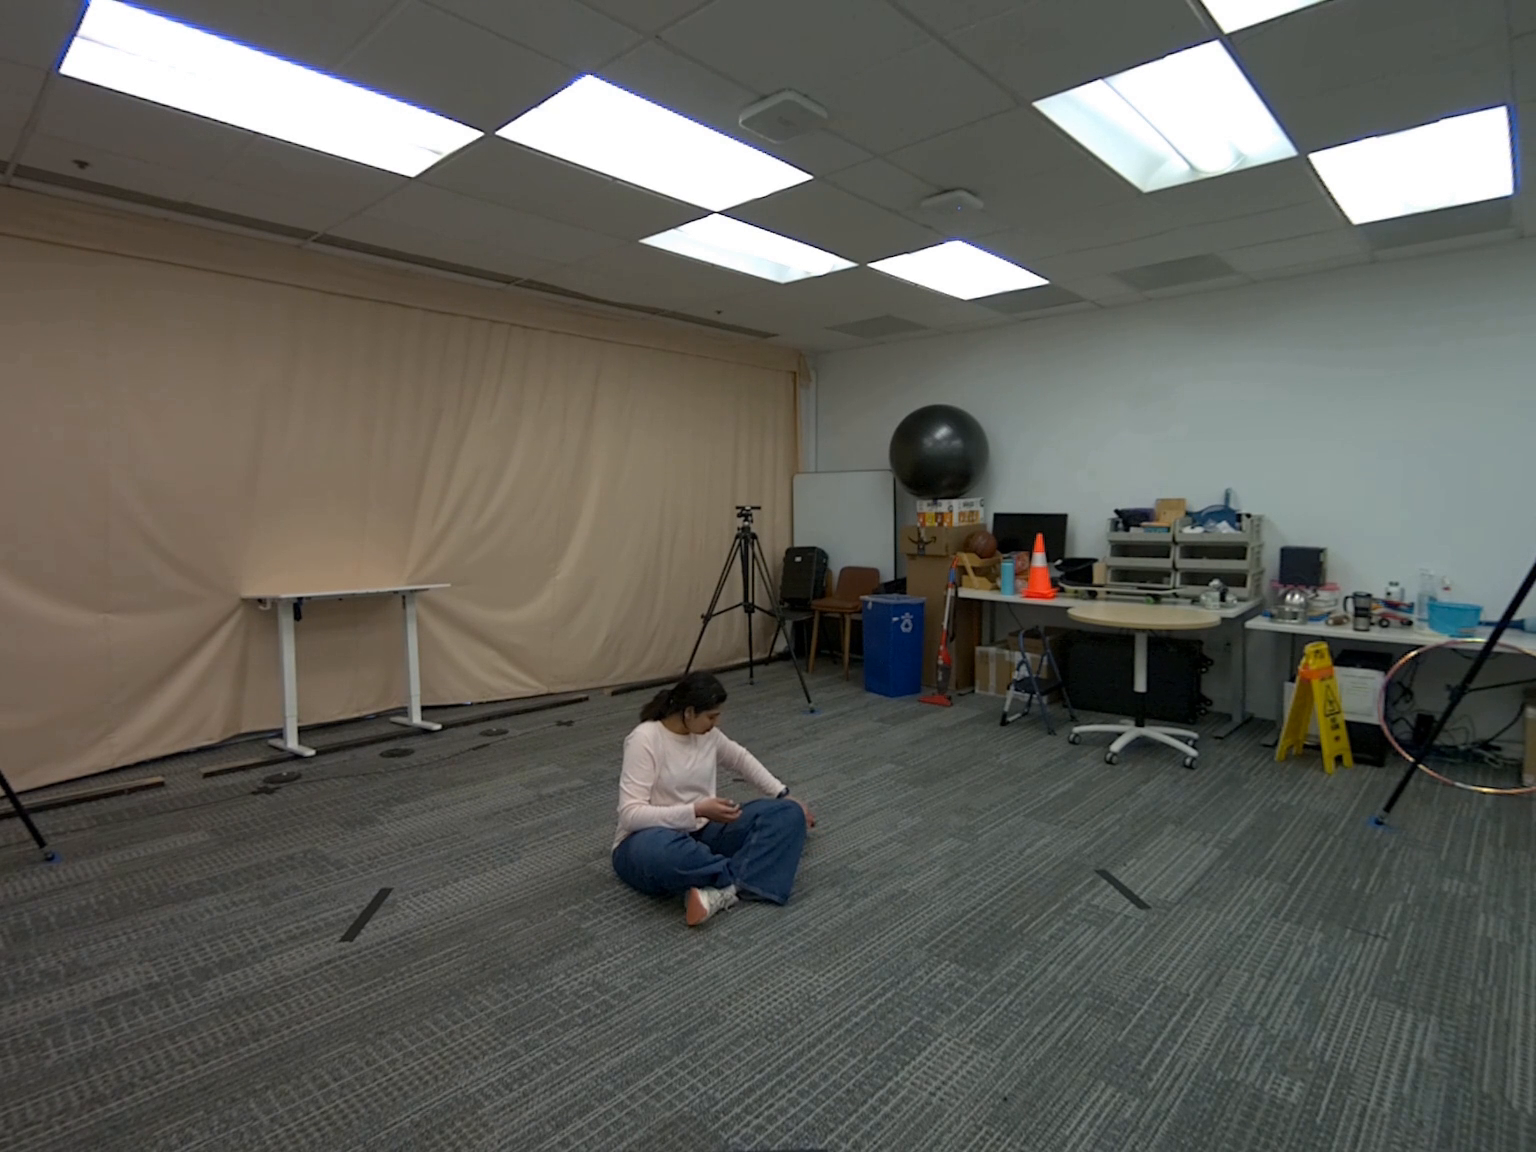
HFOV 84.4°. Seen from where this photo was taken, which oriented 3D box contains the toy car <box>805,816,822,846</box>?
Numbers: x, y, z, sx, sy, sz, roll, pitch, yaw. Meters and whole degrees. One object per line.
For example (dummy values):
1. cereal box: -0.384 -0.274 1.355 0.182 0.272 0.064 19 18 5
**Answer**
1. toy car: 0.113 1.032 3.418 0.132 0.084 0.248 -13 -13 17
